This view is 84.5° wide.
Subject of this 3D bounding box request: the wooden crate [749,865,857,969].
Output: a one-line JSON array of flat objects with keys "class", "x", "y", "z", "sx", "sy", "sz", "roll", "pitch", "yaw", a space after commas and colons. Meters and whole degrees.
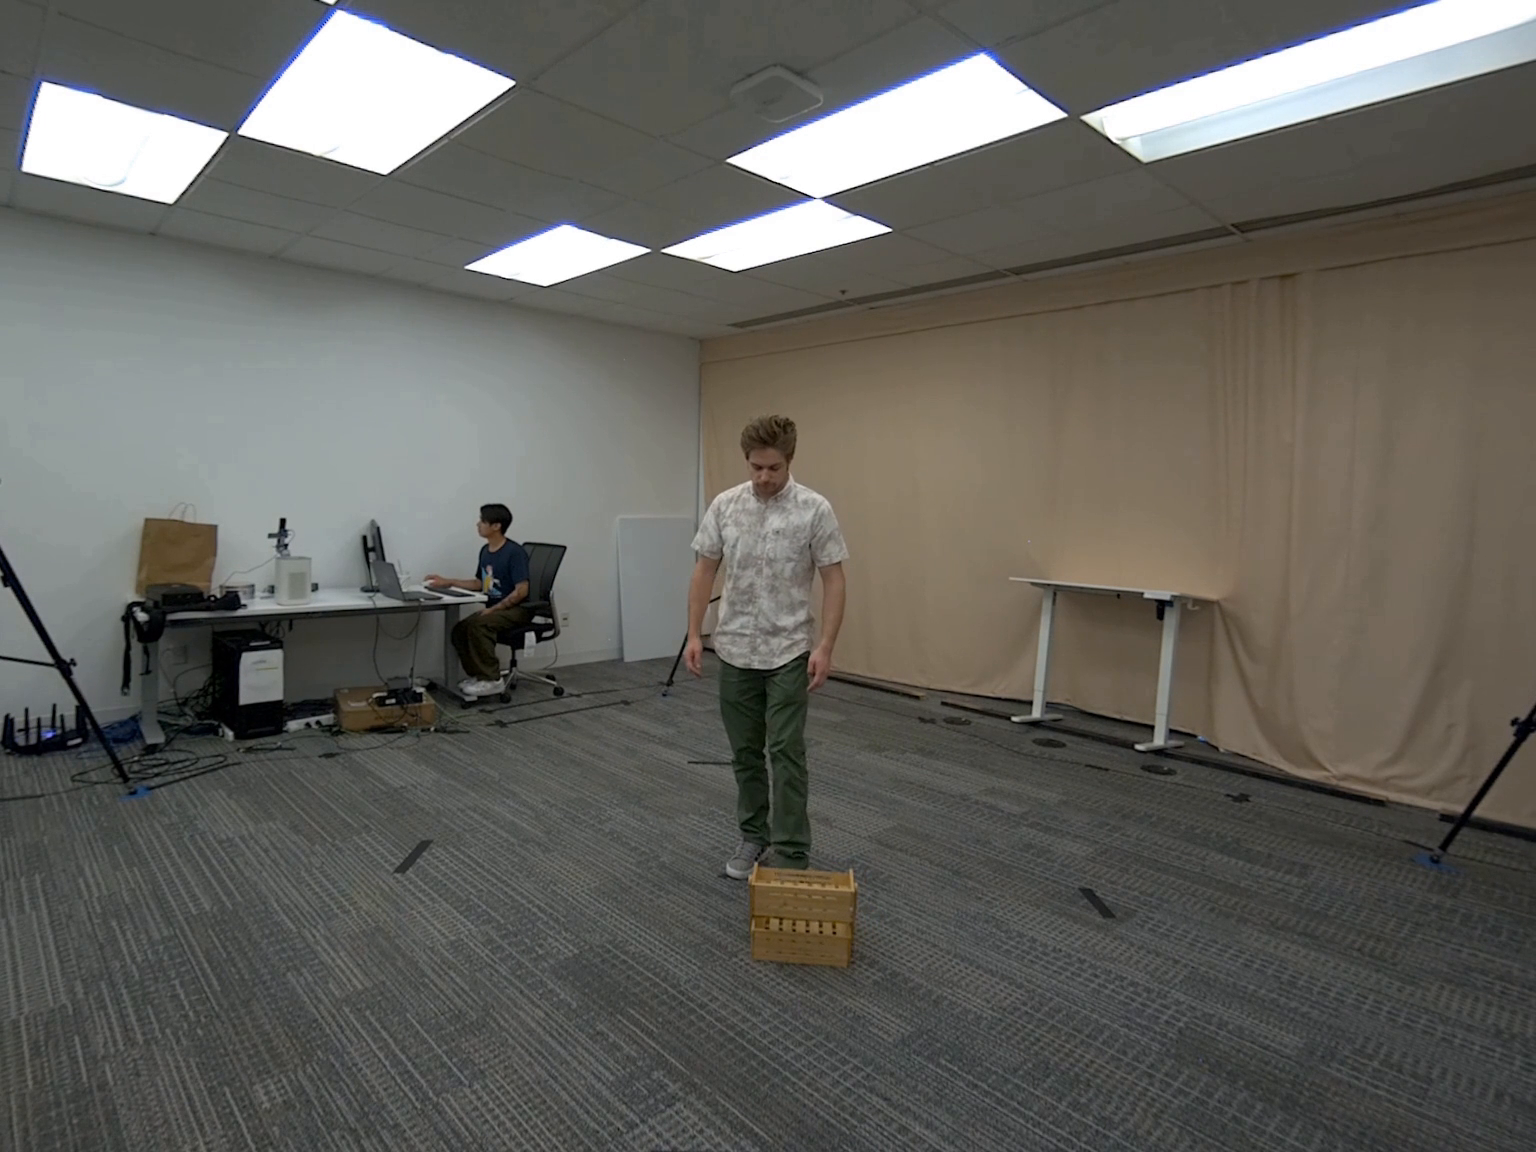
[{"class": "wooden crate", "x": 0.102, "y": 1.024, "z": 2.627, "sx": 0.326, "sy": 0.272, "sz": 0.302, "roll": 2, "pitch": 5, "yaw": 5}]
